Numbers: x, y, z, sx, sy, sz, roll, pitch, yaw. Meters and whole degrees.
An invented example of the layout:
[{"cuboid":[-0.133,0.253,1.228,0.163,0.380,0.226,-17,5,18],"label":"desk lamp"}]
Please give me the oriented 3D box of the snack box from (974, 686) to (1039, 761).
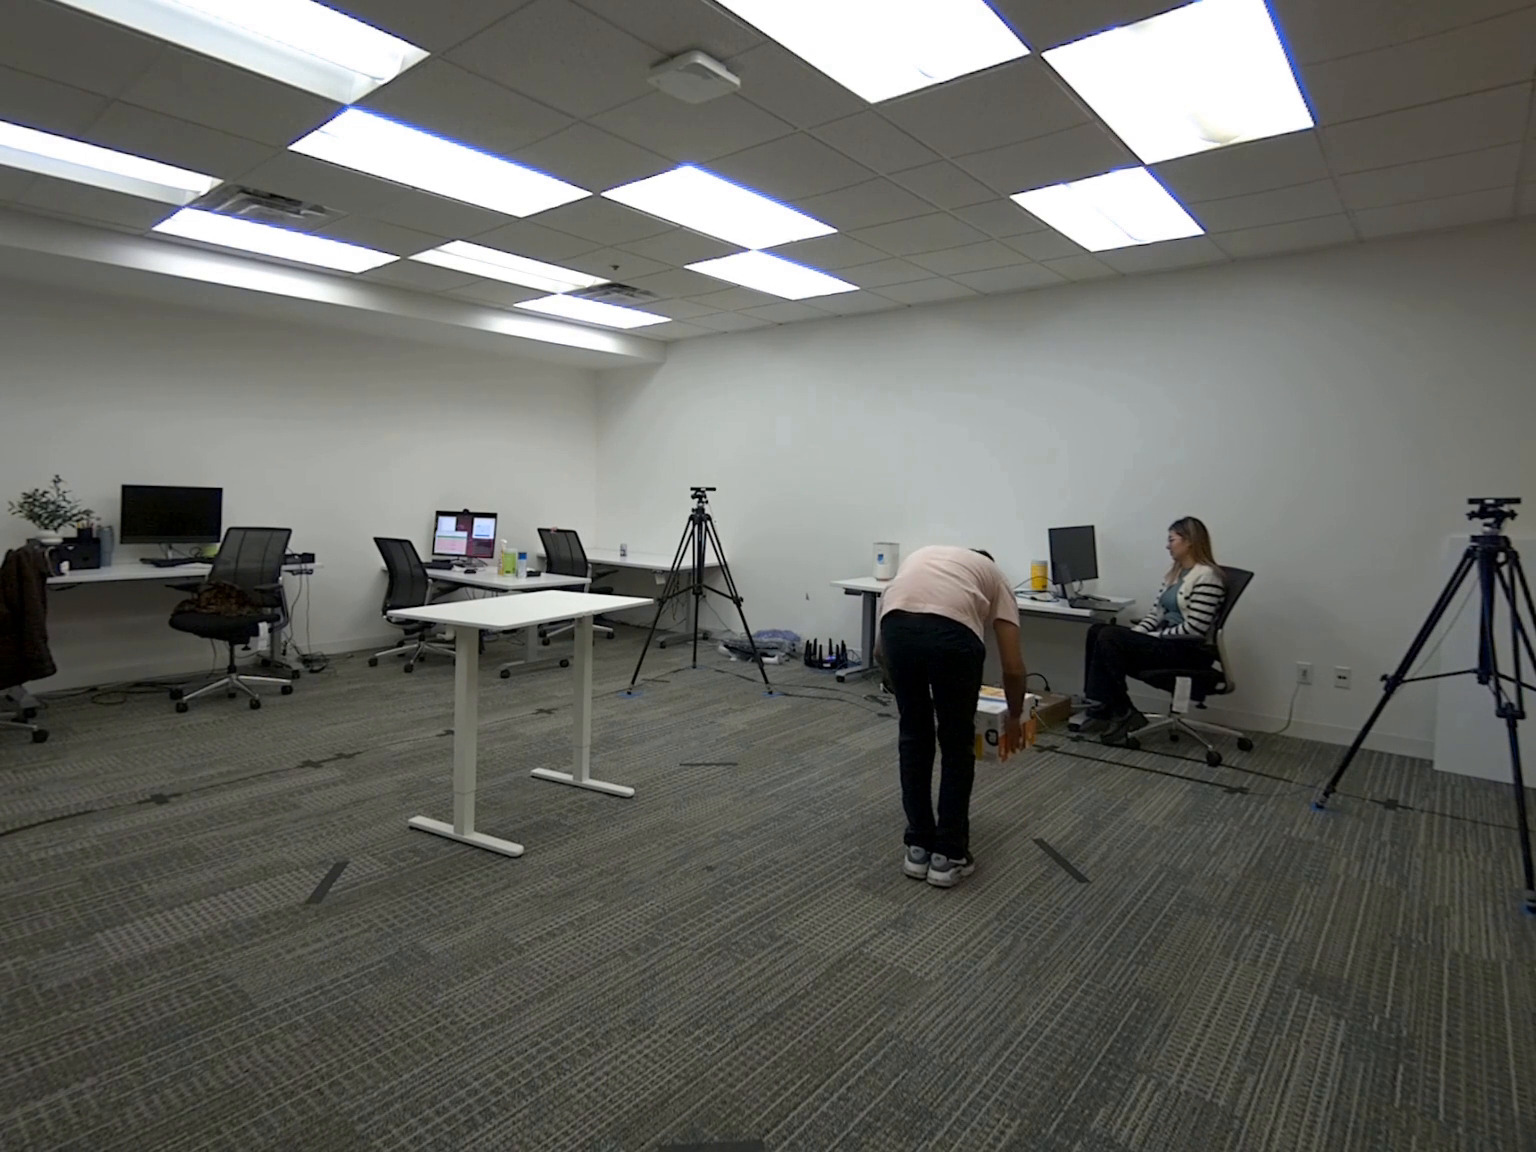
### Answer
[{"cuboid":[0.813,0.582,3.466,0.419,0.205,0.331,5,8,41],"label":"snack box"}]
